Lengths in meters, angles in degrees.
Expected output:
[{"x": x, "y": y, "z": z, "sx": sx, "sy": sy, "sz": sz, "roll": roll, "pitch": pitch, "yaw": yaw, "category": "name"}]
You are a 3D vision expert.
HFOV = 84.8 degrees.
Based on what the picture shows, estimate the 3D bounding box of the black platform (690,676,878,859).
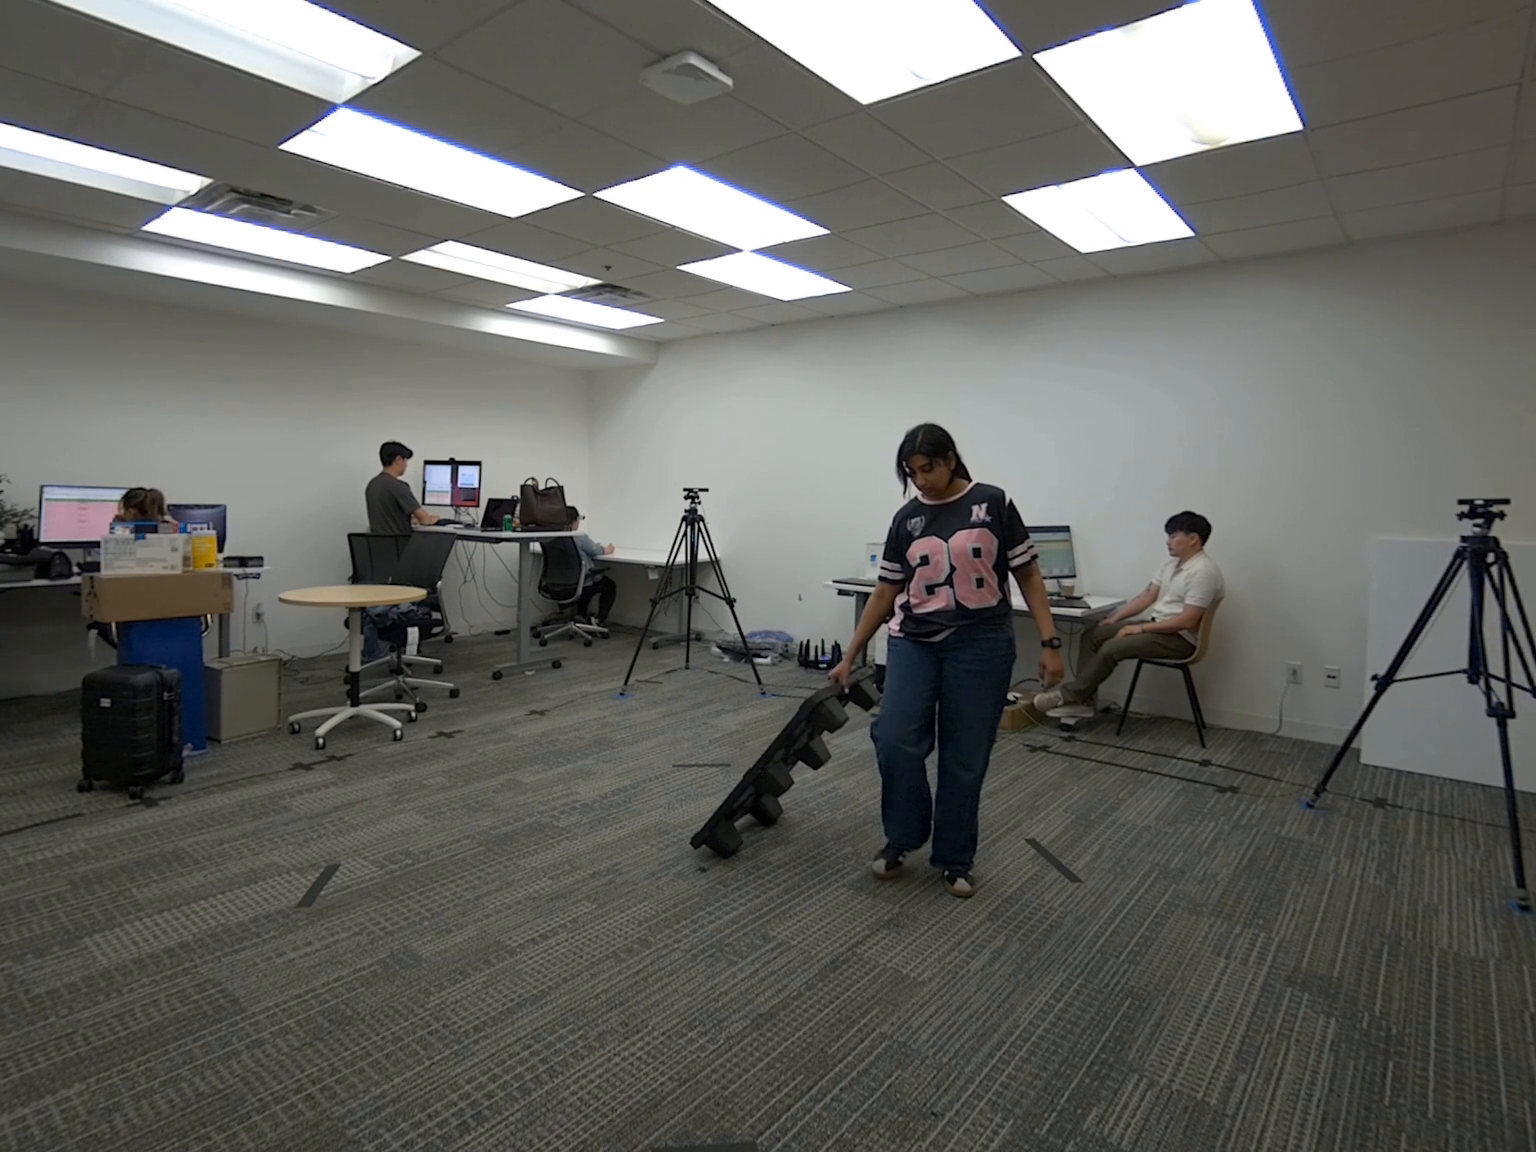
[{"x": 0.087, "y": 0.727, "z": 3.305, "sx": 0.147, "sy": 0.803, "sz": 0.590, "roll": 43, "pitch": 20, "yaw": 18, "category": "black platform"}]
